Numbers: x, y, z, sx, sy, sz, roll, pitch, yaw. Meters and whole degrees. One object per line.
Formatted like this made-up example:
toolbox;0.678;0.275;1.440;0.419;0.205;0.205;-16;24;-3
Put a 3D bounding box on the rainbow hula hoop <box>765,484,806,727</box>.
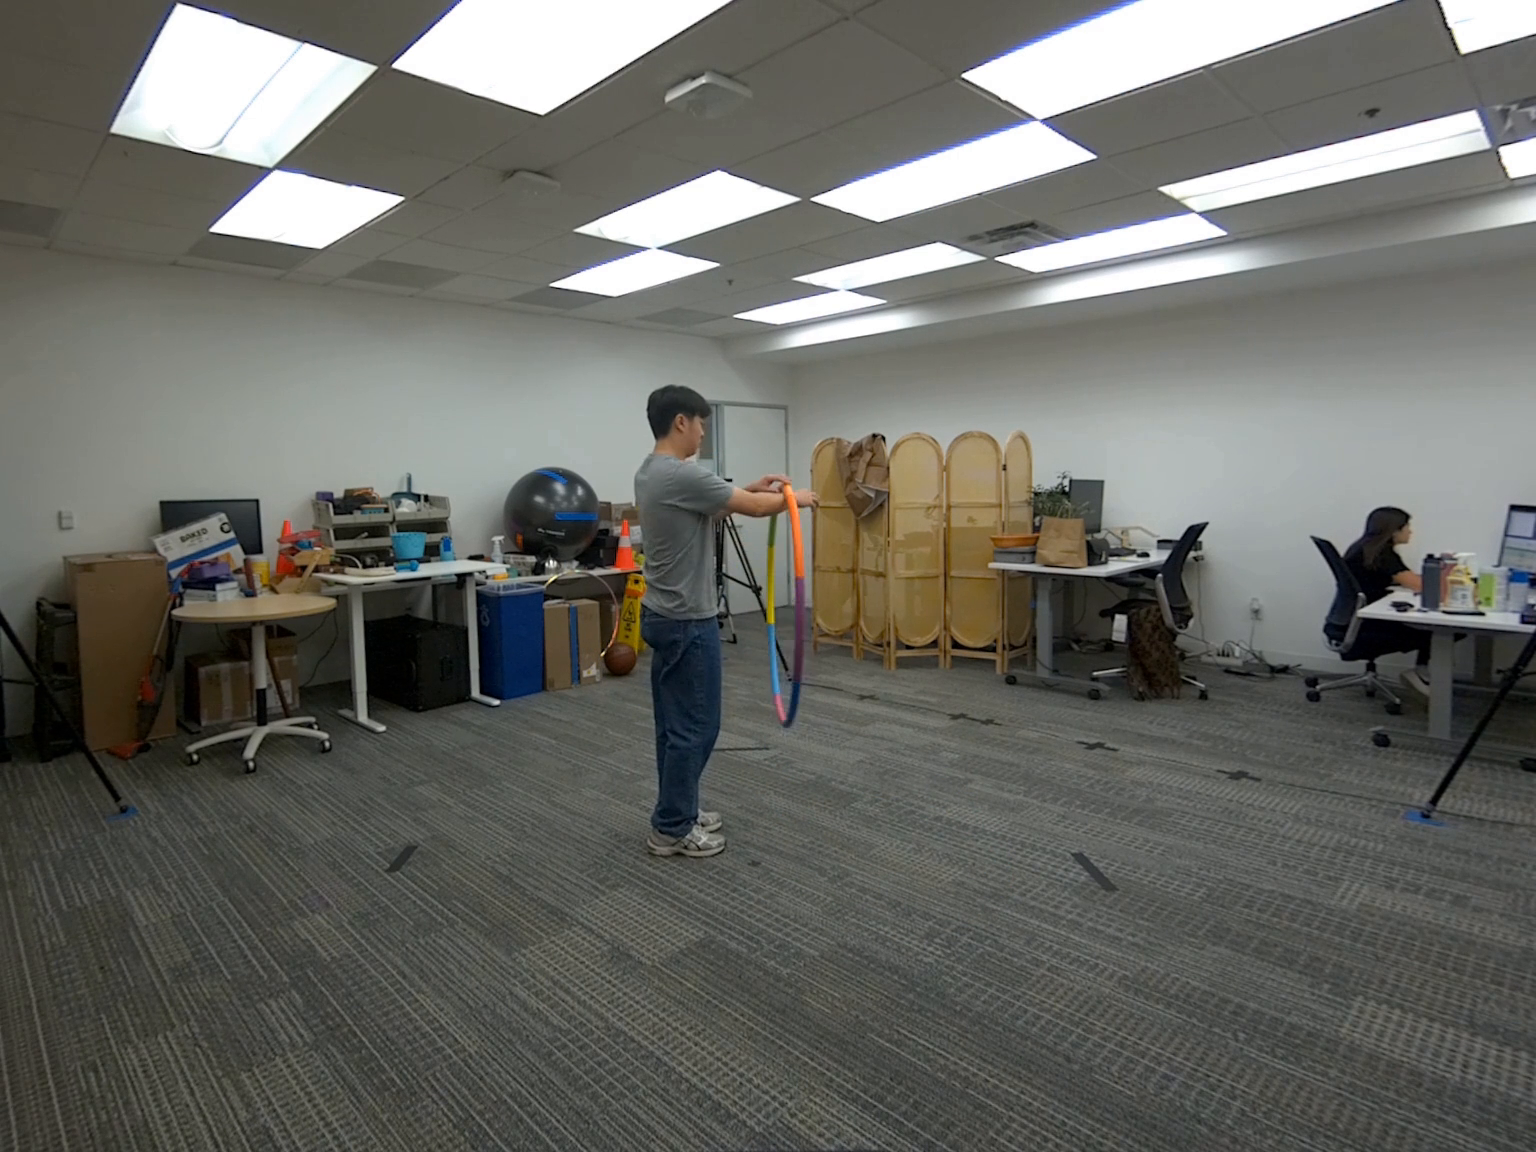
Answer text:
rainbow hula hoop;0.064;0.116;3.476;0.035;0.975;0.986;1;5;-5
